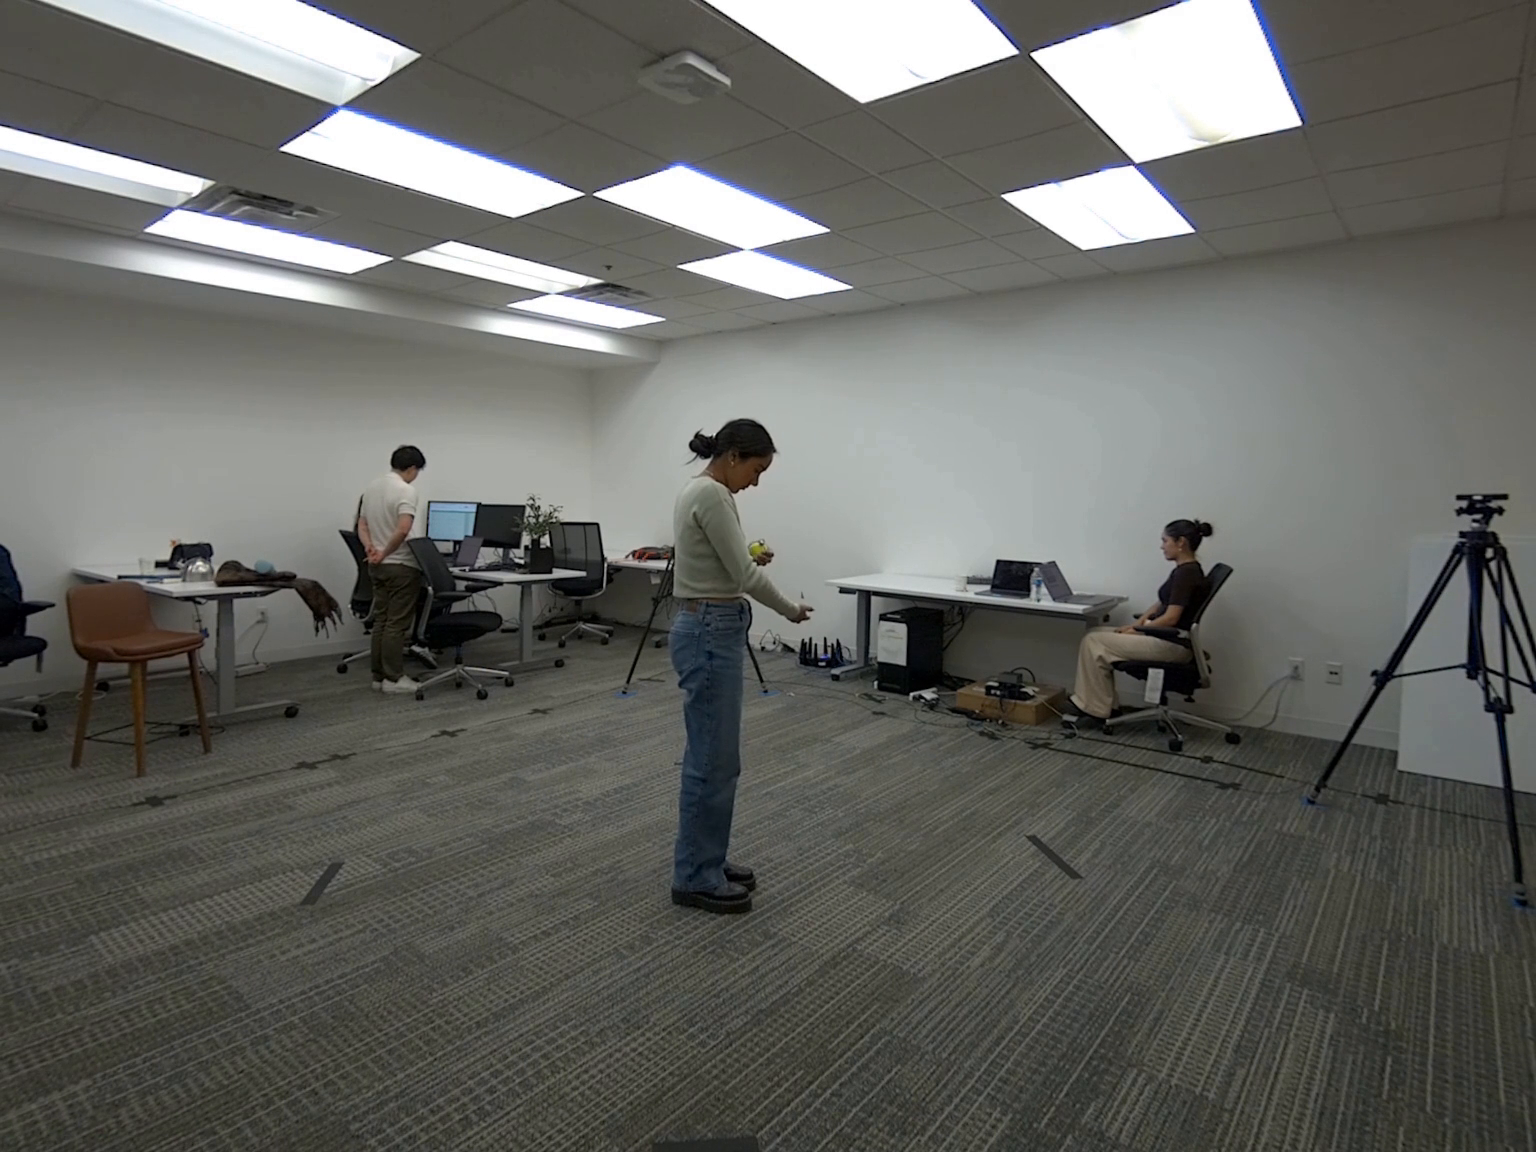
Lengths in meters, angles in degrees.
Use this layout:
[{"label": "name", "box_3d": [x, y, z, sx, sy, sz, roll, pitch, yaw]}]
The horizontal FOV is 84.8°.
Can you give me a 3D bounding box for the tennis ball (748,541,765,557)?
[{"label": "tennis ball", "box_3d": [-0.051, -0.094, 2.852, 0.066, 0.066, 0.067, 1, 4, -2]}]
